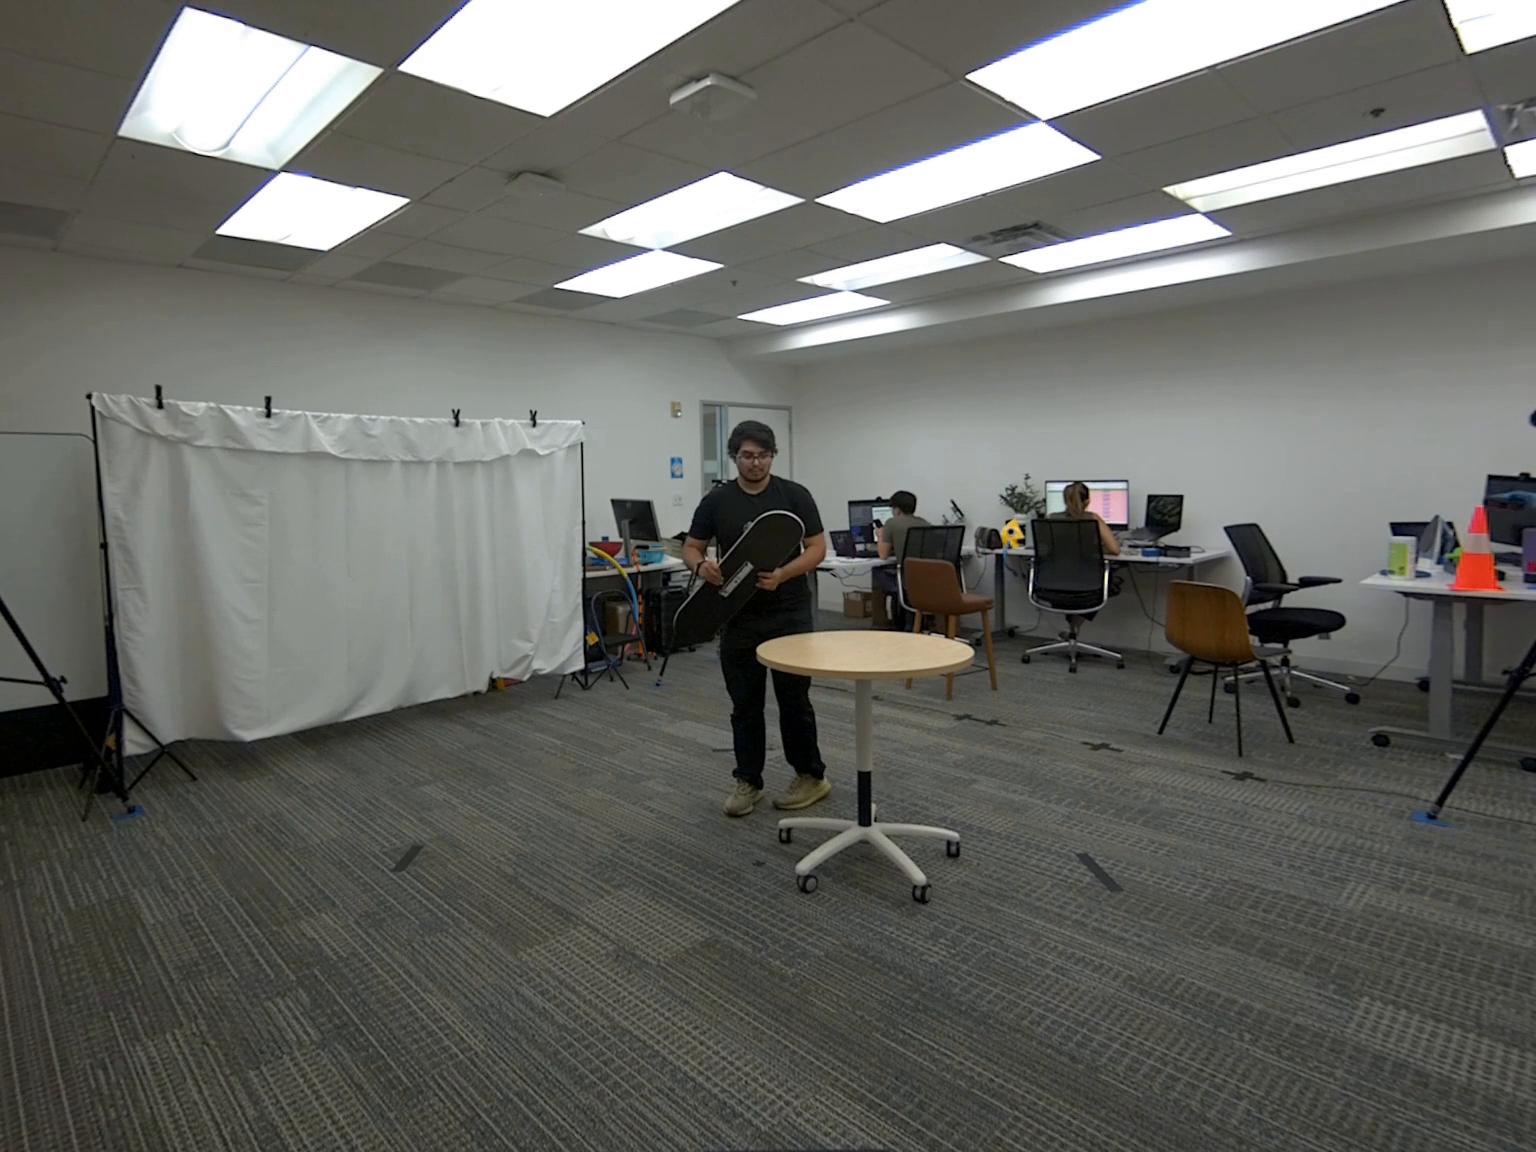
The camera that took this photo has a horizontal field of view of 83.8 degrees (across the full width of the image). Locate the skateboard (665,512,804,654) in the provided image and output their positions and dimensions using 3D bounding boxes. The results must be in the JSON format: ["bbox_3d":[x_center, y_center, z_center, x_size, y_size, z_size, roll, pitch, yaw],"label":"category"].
[{"bbox_3d":[-0.121,-0.009,3.432,0.190,0.784,0.112,33,31,-15],"label":"skateboard"}]
